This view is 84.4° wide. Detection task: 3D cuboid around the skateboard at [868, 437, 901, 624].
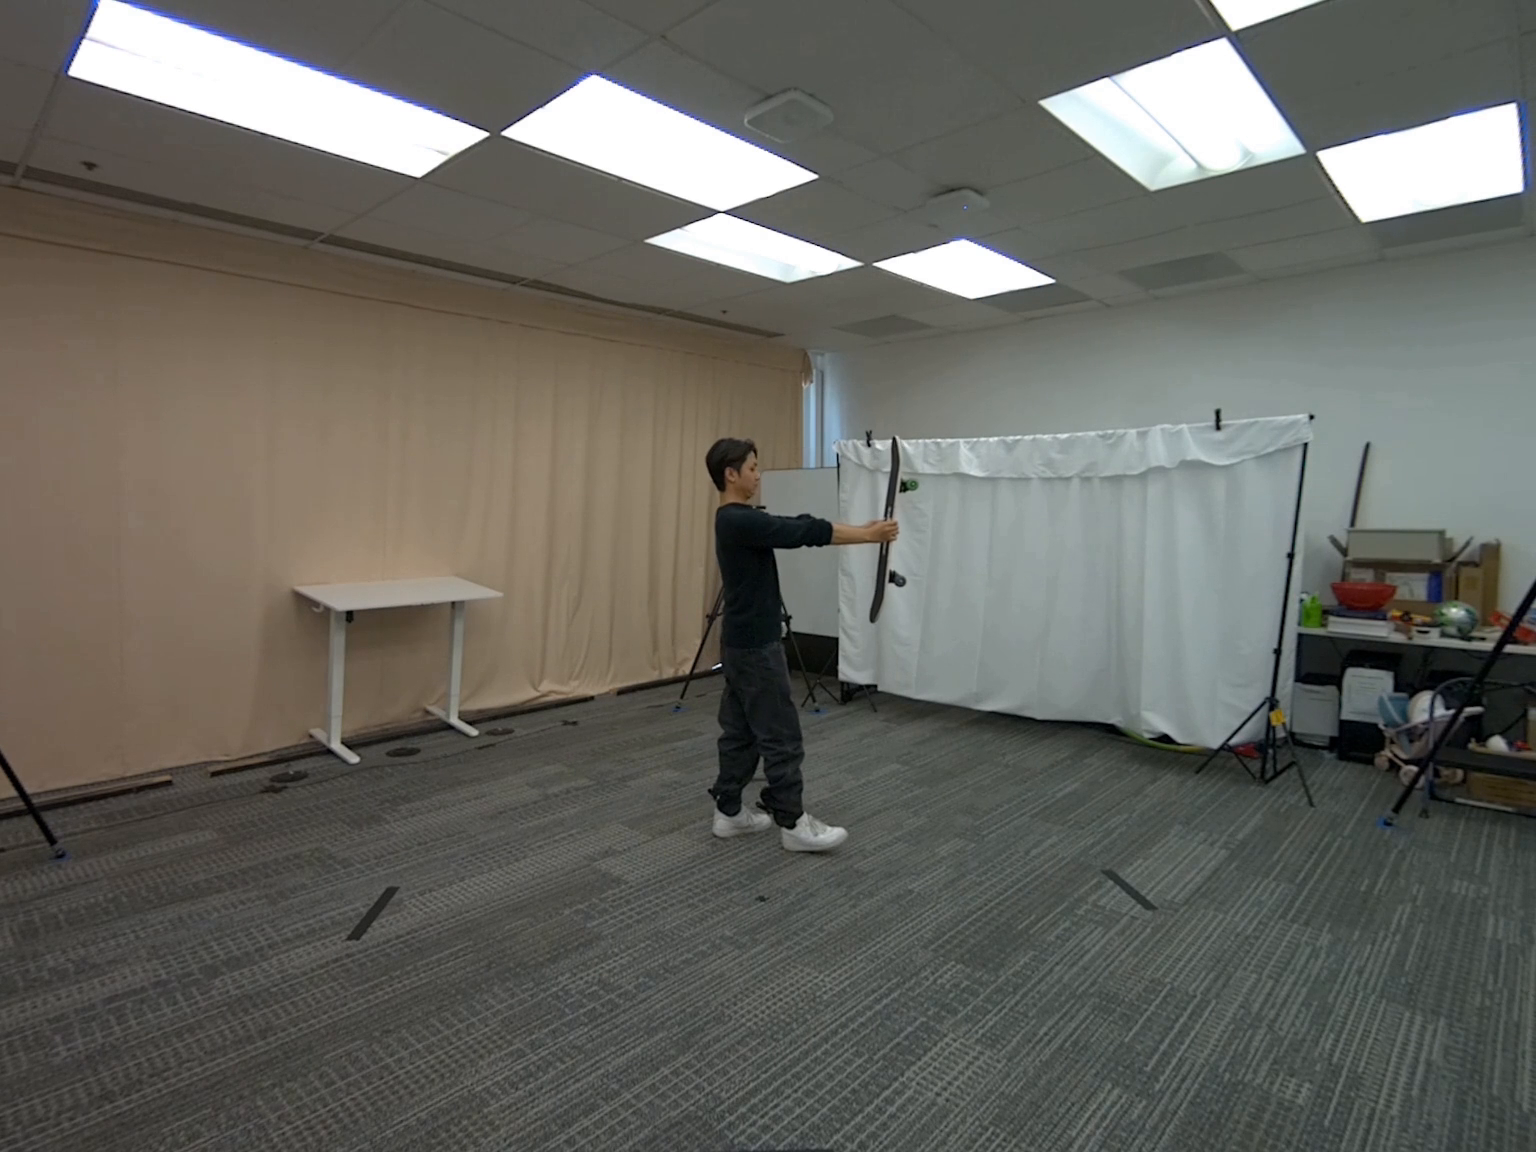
[{"bbox_3d":[0.532,-0.185,3.531,0.110,0.784,0.194,8,4,-4],"label":"skateboard"}]
